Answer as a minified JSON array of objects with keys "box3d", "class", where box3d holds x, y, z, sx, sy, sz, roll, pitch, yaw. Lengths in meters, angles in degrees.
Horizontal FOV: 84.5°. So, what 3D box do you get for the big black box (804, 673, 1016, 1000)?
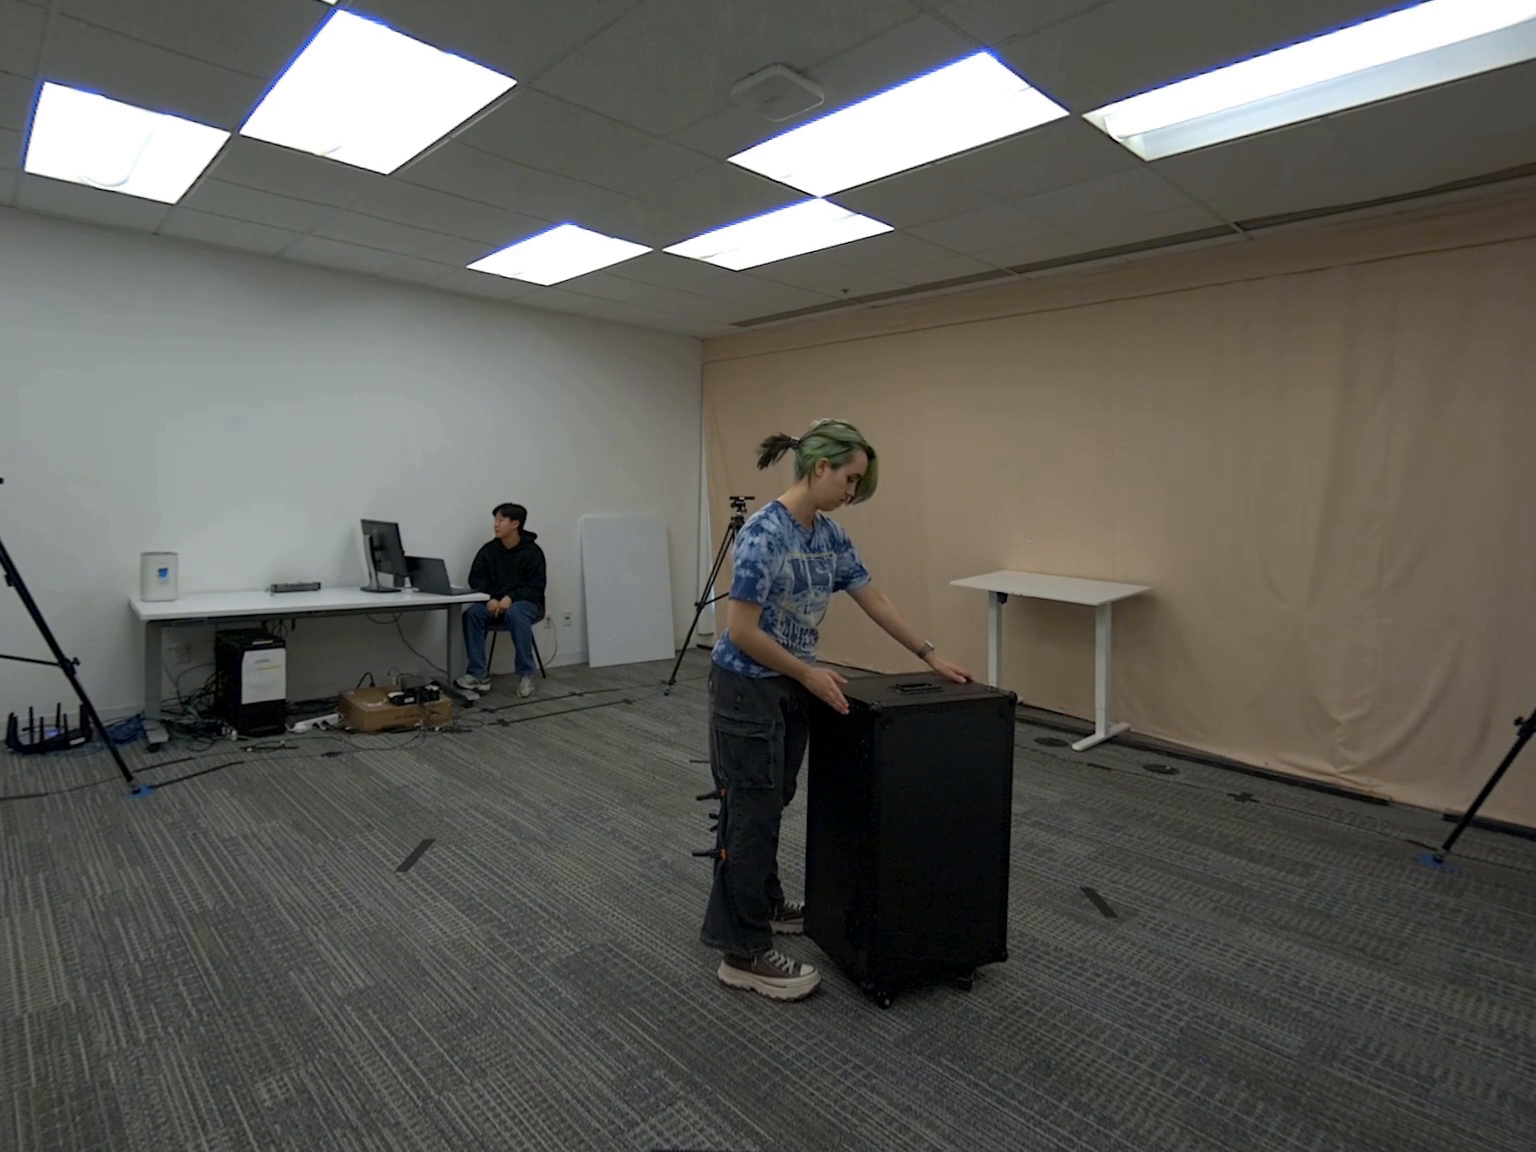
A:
[{"box3d":[0.401,0.751,2.486,0.512,0.860,0.404,0,2,-25],"class":"big black box"}]
